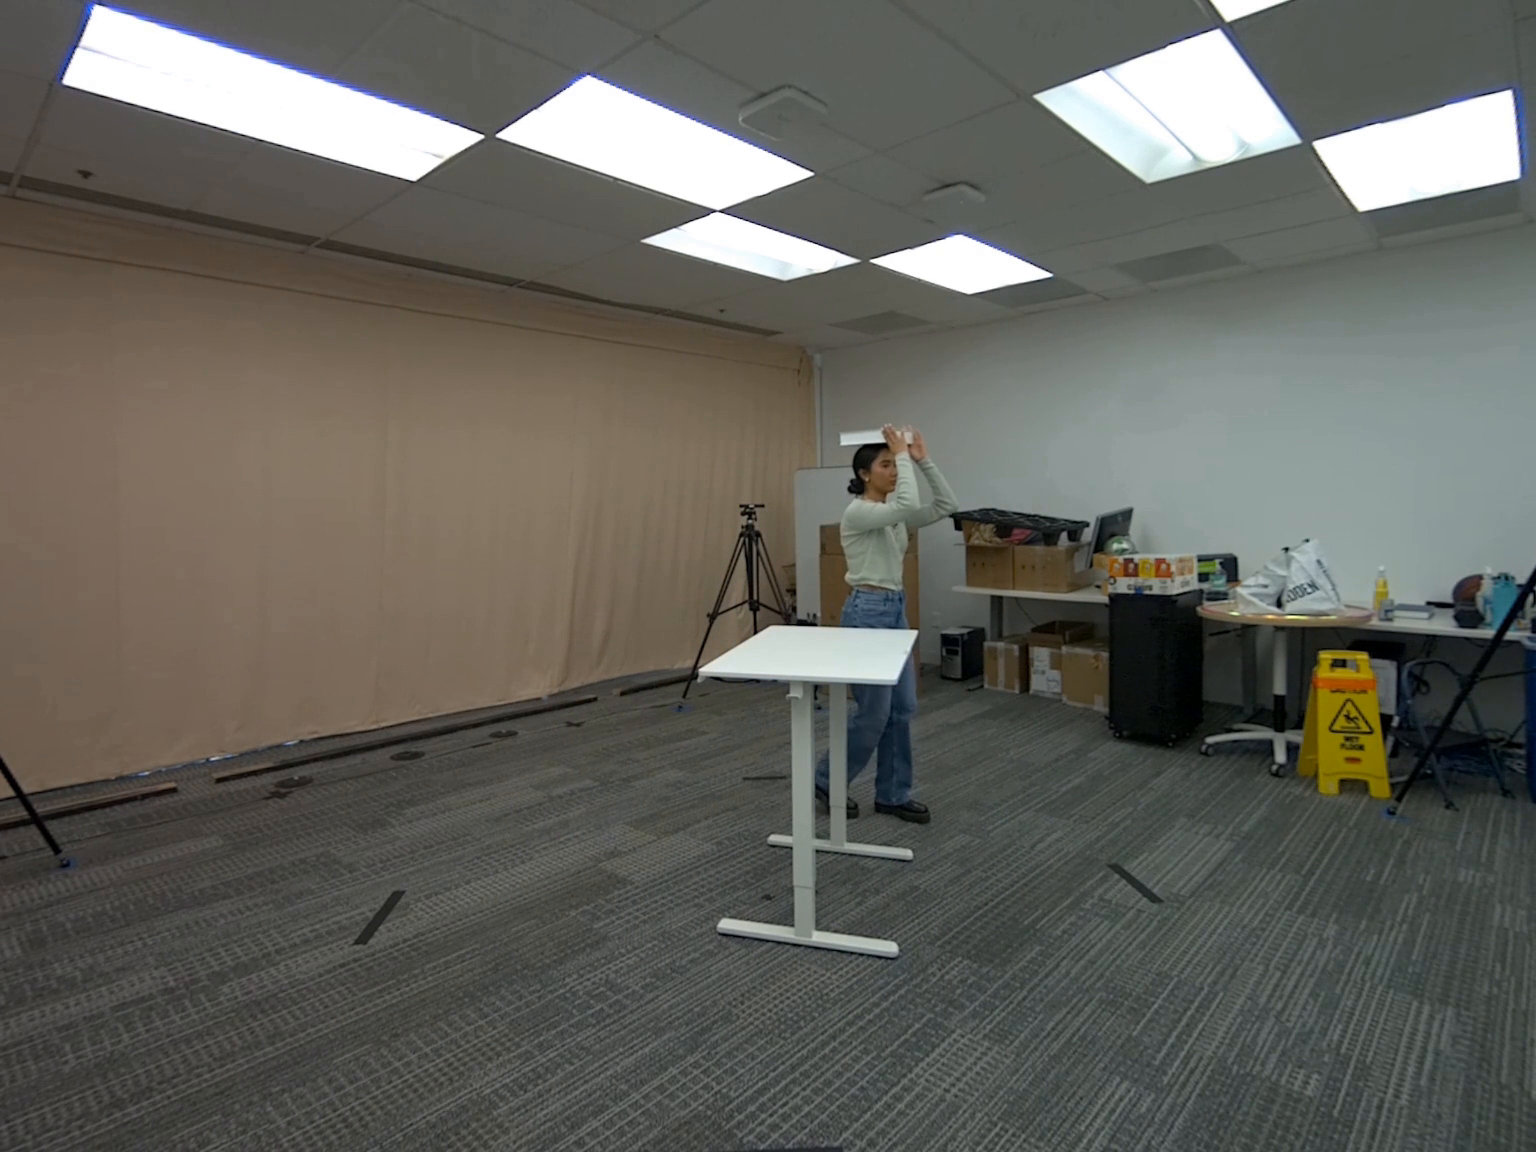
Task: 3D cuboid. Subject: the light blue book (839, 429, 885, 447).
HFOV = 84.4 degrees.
[{"bbox_3d":[0.474,-0.605,3.708,0.269,0.059,0.186,0,4,34],"label":"light blue book"}]
